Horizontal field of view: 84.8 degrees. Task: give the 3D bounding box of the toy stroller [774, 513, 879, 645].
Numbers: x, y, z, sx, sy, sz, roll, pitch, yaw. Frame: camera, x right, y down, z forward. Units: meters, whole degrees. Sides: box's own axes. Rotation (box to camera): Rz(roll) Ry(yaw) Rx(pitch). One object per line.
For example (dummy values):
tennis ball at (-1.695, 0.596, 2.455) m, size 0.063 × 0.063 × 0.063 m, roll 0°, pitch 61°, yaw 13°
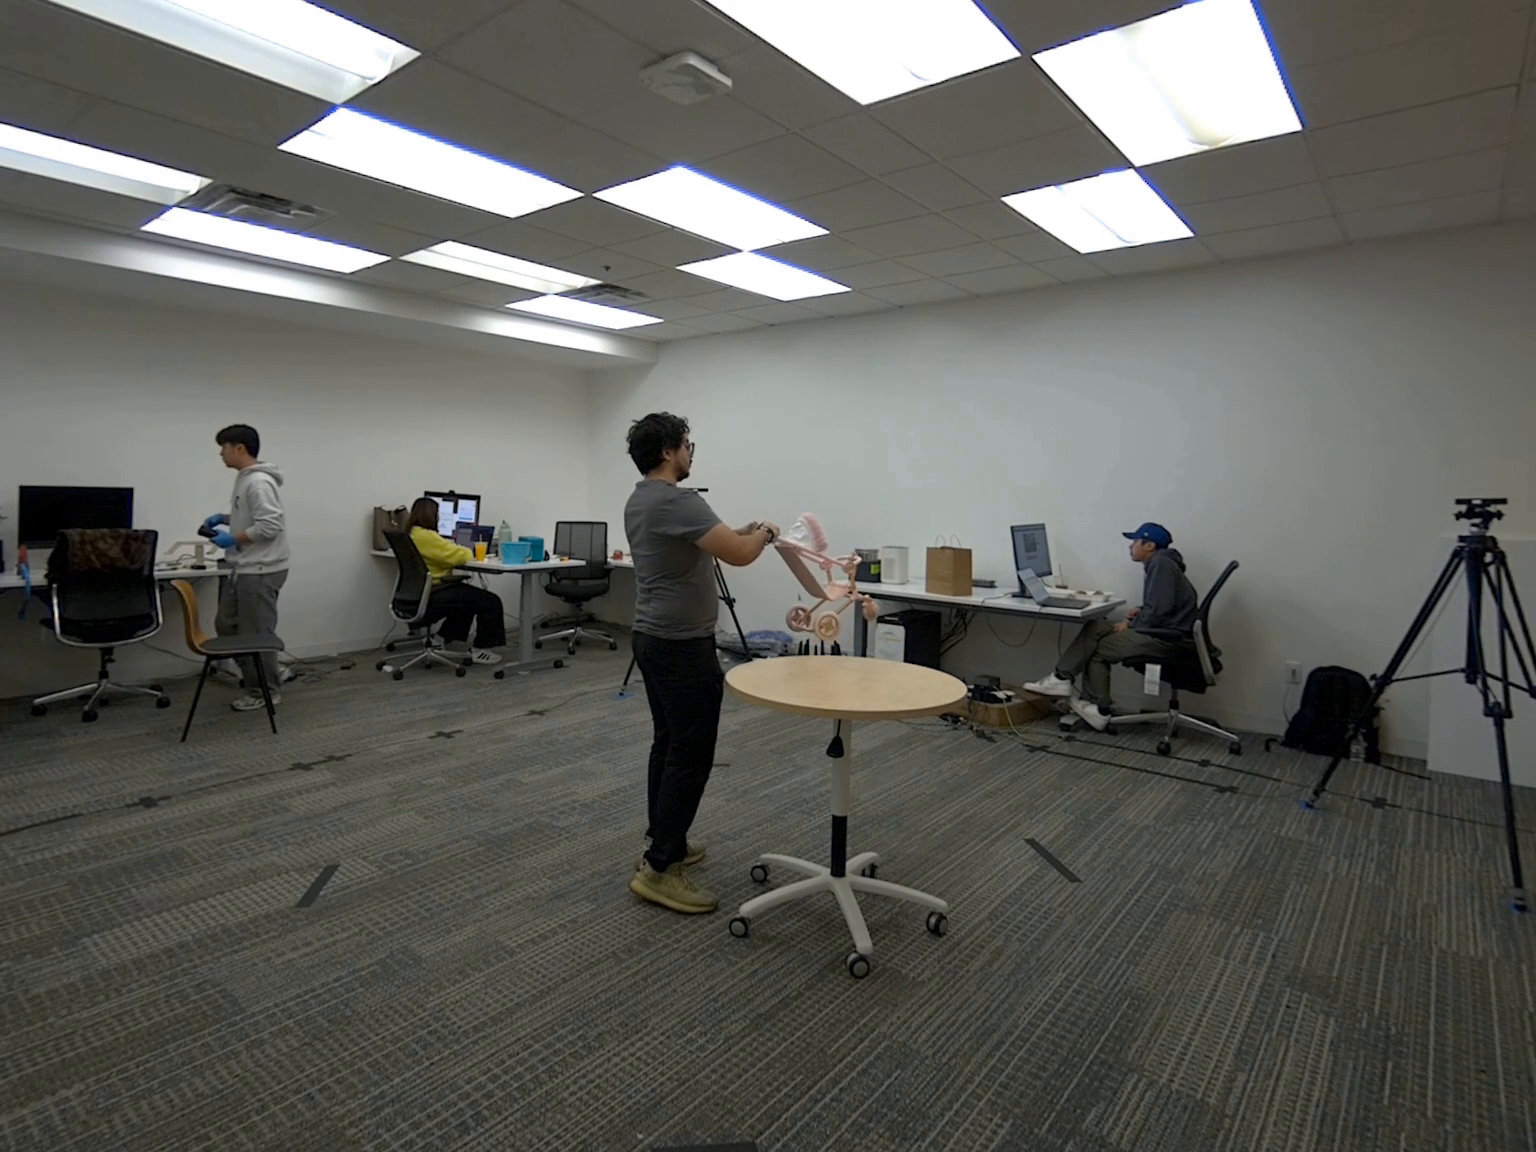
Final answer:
toy stroller at (0.194, -0.006, 3.246) m, size 0.339 × 0.528 × 0.287 m, roll -26°, pitch 11°, yaw -14°
